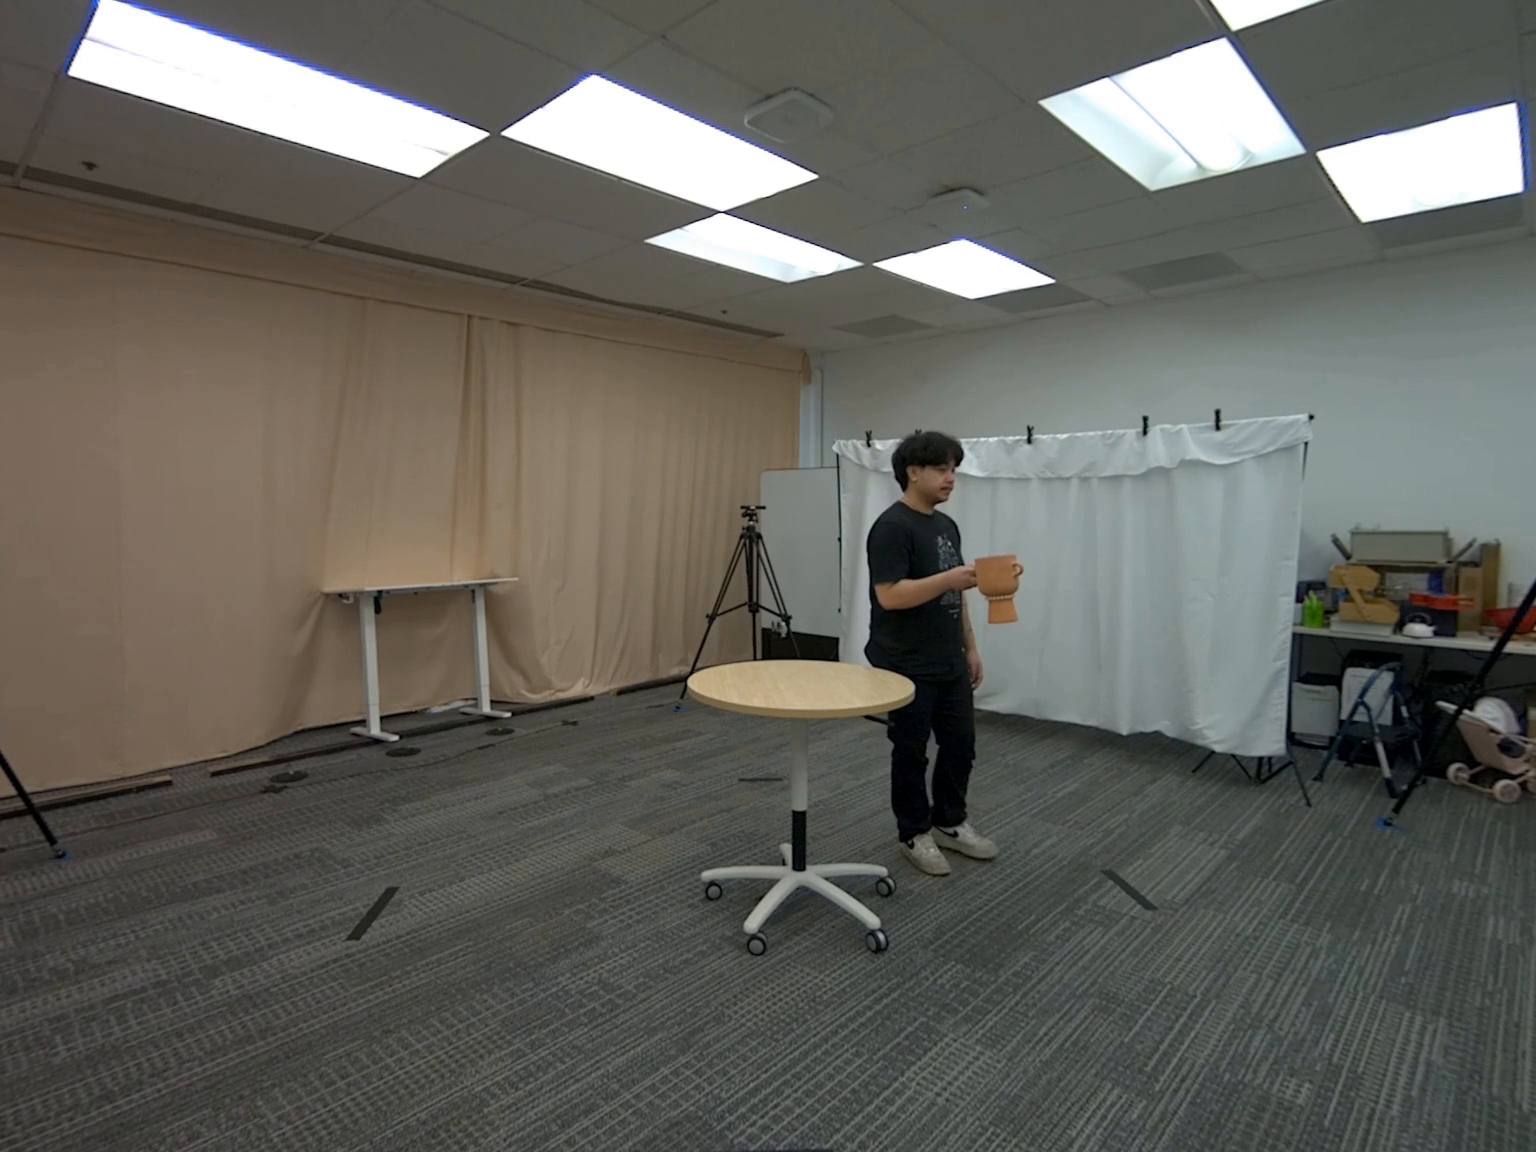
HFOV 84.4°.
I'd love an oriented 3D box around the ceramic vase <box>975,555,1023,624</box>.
[{"bbox_3d":[0.780,0.048,2.824,0.135,0.220,0.159,-8,0,-1],"label":"ceramic vase"}]
